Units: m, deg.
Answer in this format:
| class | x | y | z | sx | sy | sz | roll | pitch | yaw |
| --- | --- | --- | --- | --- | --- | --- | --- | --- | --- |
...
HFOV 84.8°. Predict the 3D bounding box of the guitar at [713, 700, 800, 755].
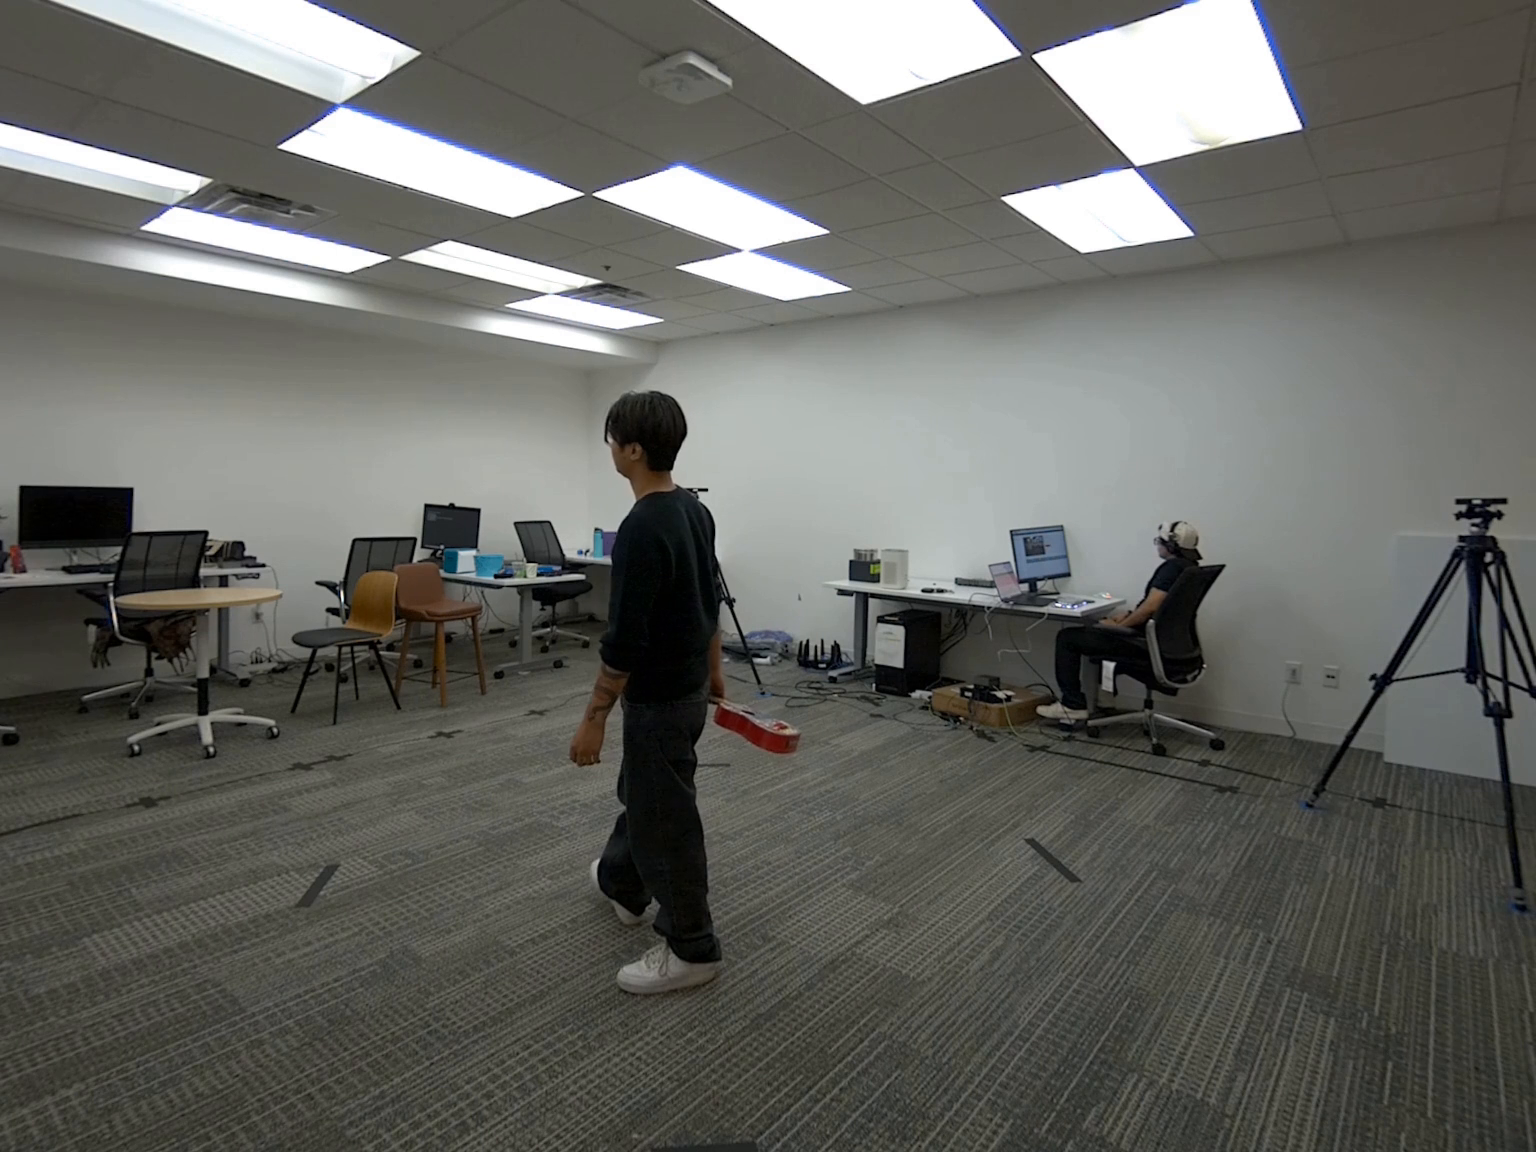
| class | x | y | z | sx | sy | sz | roll | pitch | yaw |
| --- | --- | --- | --- | --- | --- | --- | --- | --- | --- |
| guitar | -0.129 | 0.429 | 2.715 | 0.517 | 0.070 | 0.186 | 21 | 6 | 37 |
